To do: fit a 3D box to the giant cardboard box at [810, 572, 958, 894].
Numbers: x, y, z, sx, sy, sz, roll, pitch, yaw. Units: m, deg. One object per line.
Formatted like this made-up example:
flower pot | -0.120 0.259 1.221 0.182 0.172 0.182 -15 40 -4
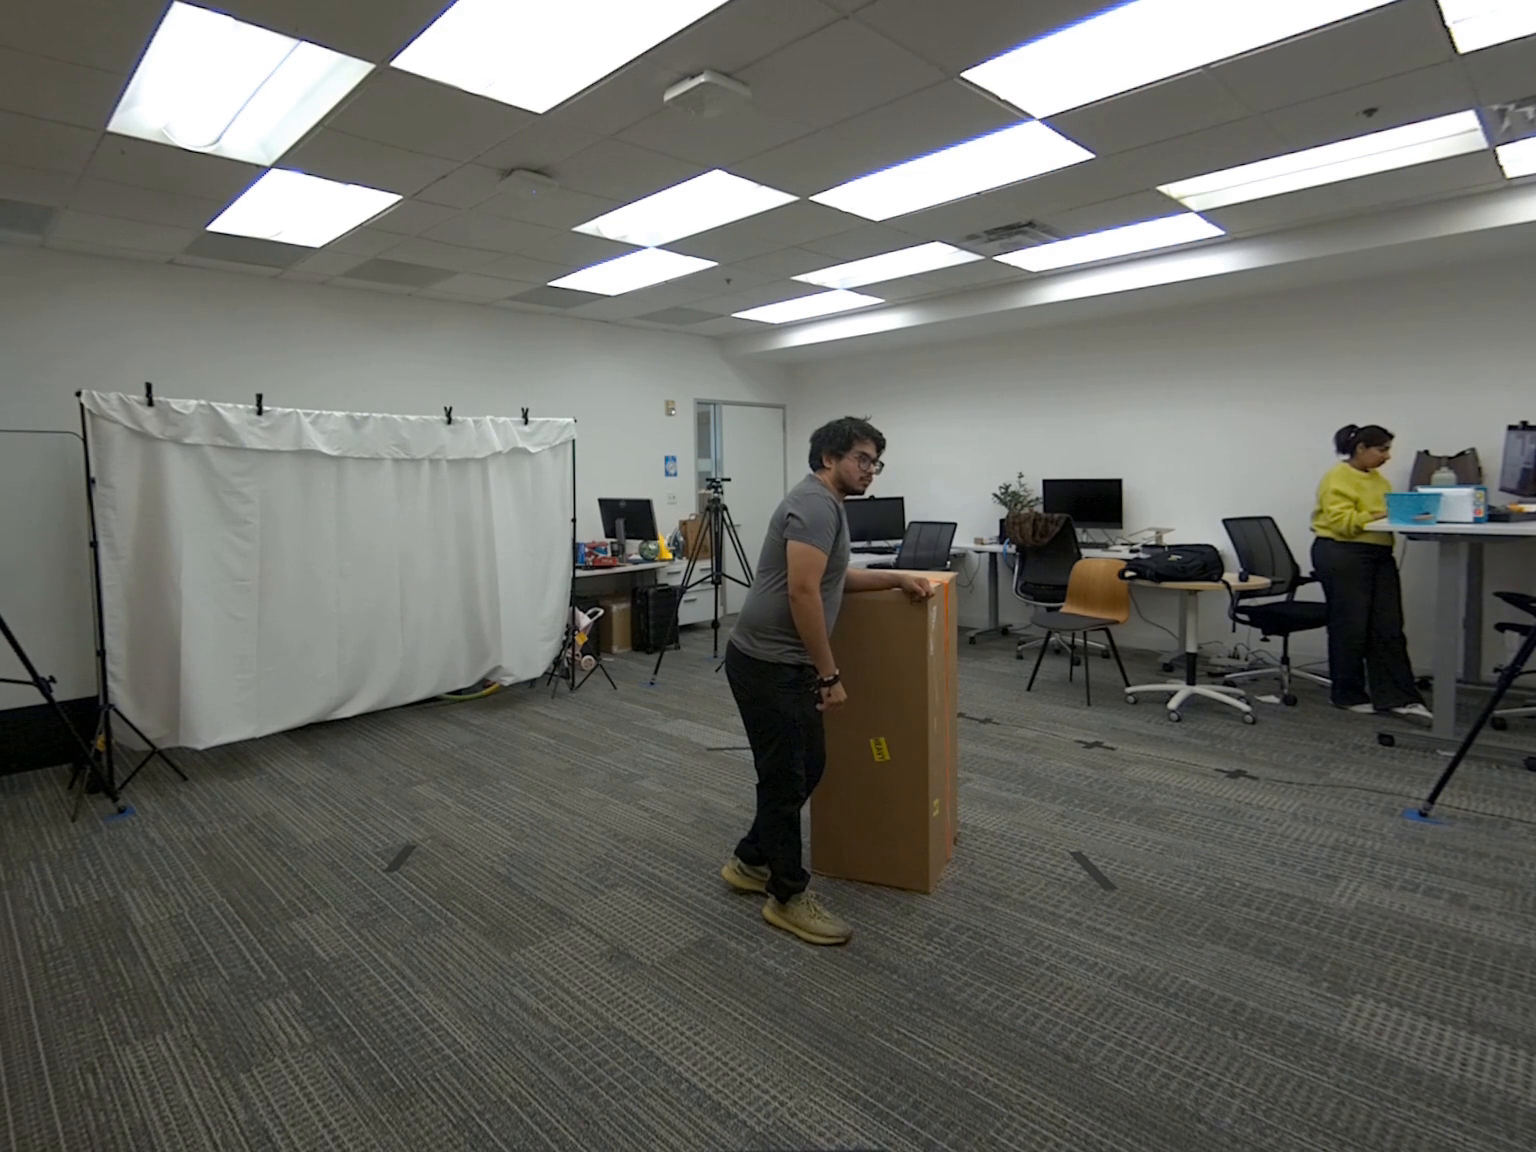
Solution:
giant cardboard box | 0.450 0.519 3.165 0.436 1.022 0.567 1 4 24
